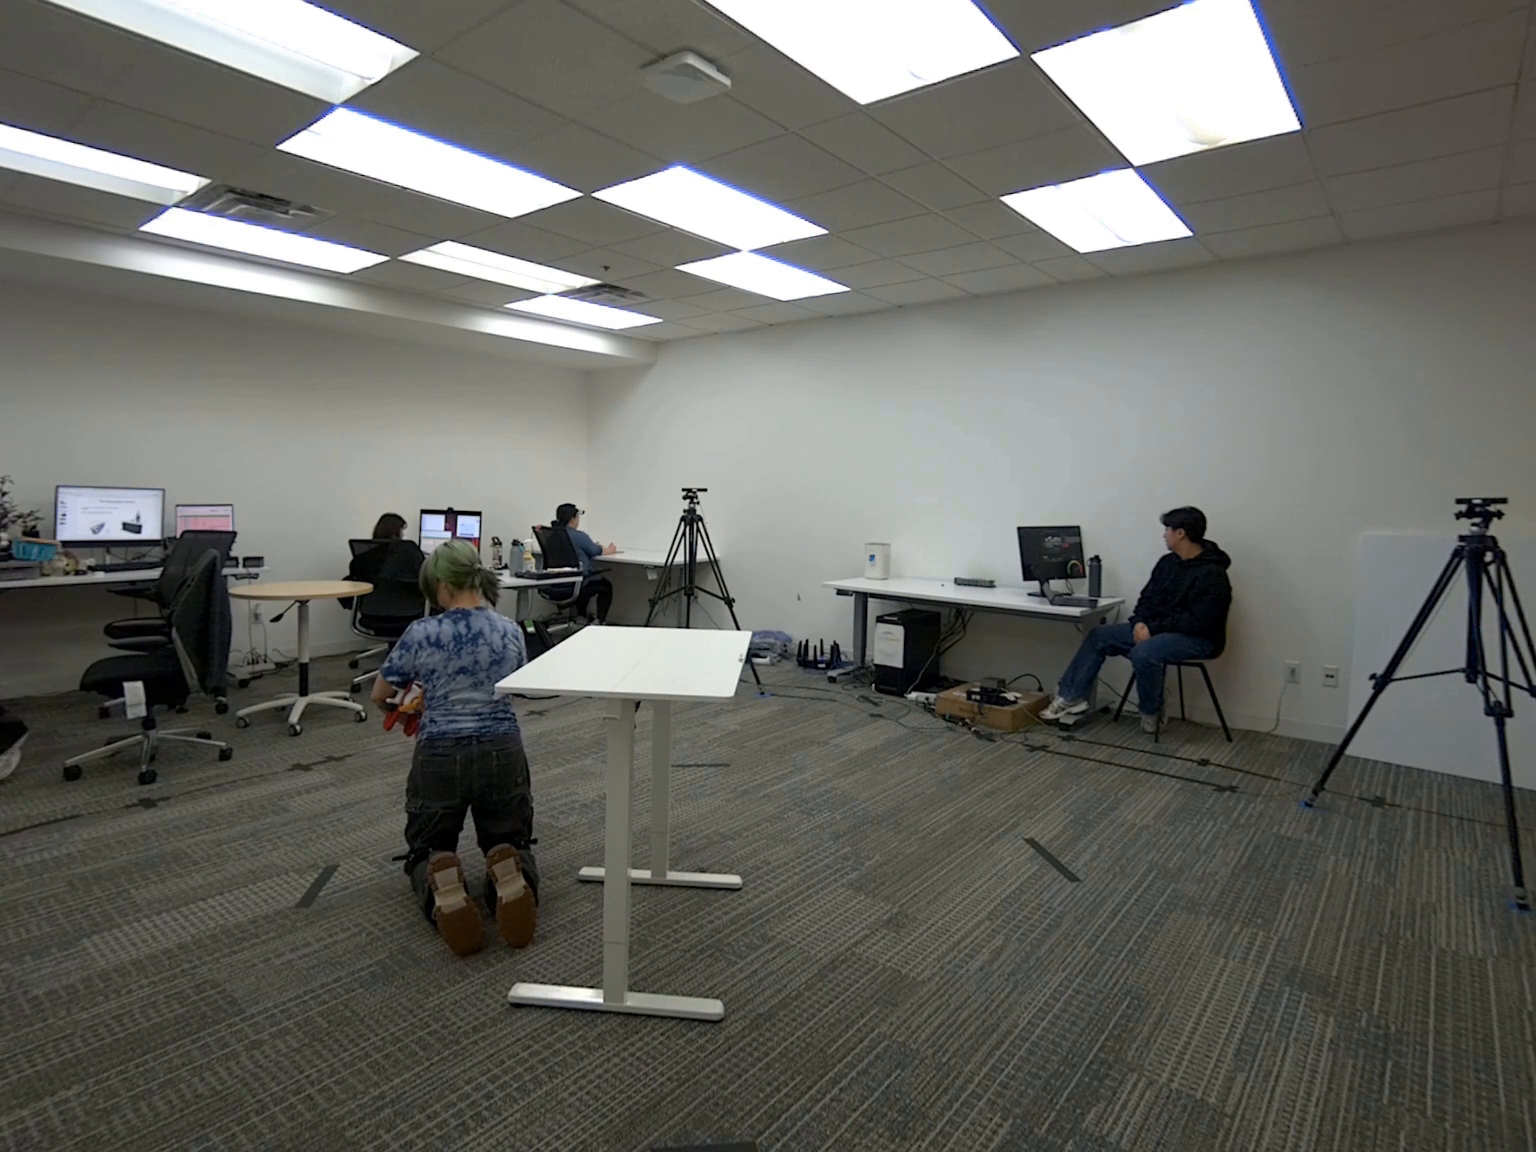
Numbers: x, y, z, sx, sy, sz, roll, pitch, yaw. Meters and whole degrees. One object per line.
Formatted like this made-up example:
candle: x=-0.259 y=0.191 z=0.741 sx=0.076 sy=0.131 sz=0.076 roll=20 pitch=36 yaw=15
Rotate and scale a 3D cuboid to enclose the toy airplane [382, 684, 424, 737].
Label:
toy airplane: x=-1.292 y=0.400 z=3.015 sx=0.151 sy=0.250 sz=0.268 roll=26 pitch=17 yaw=-27
